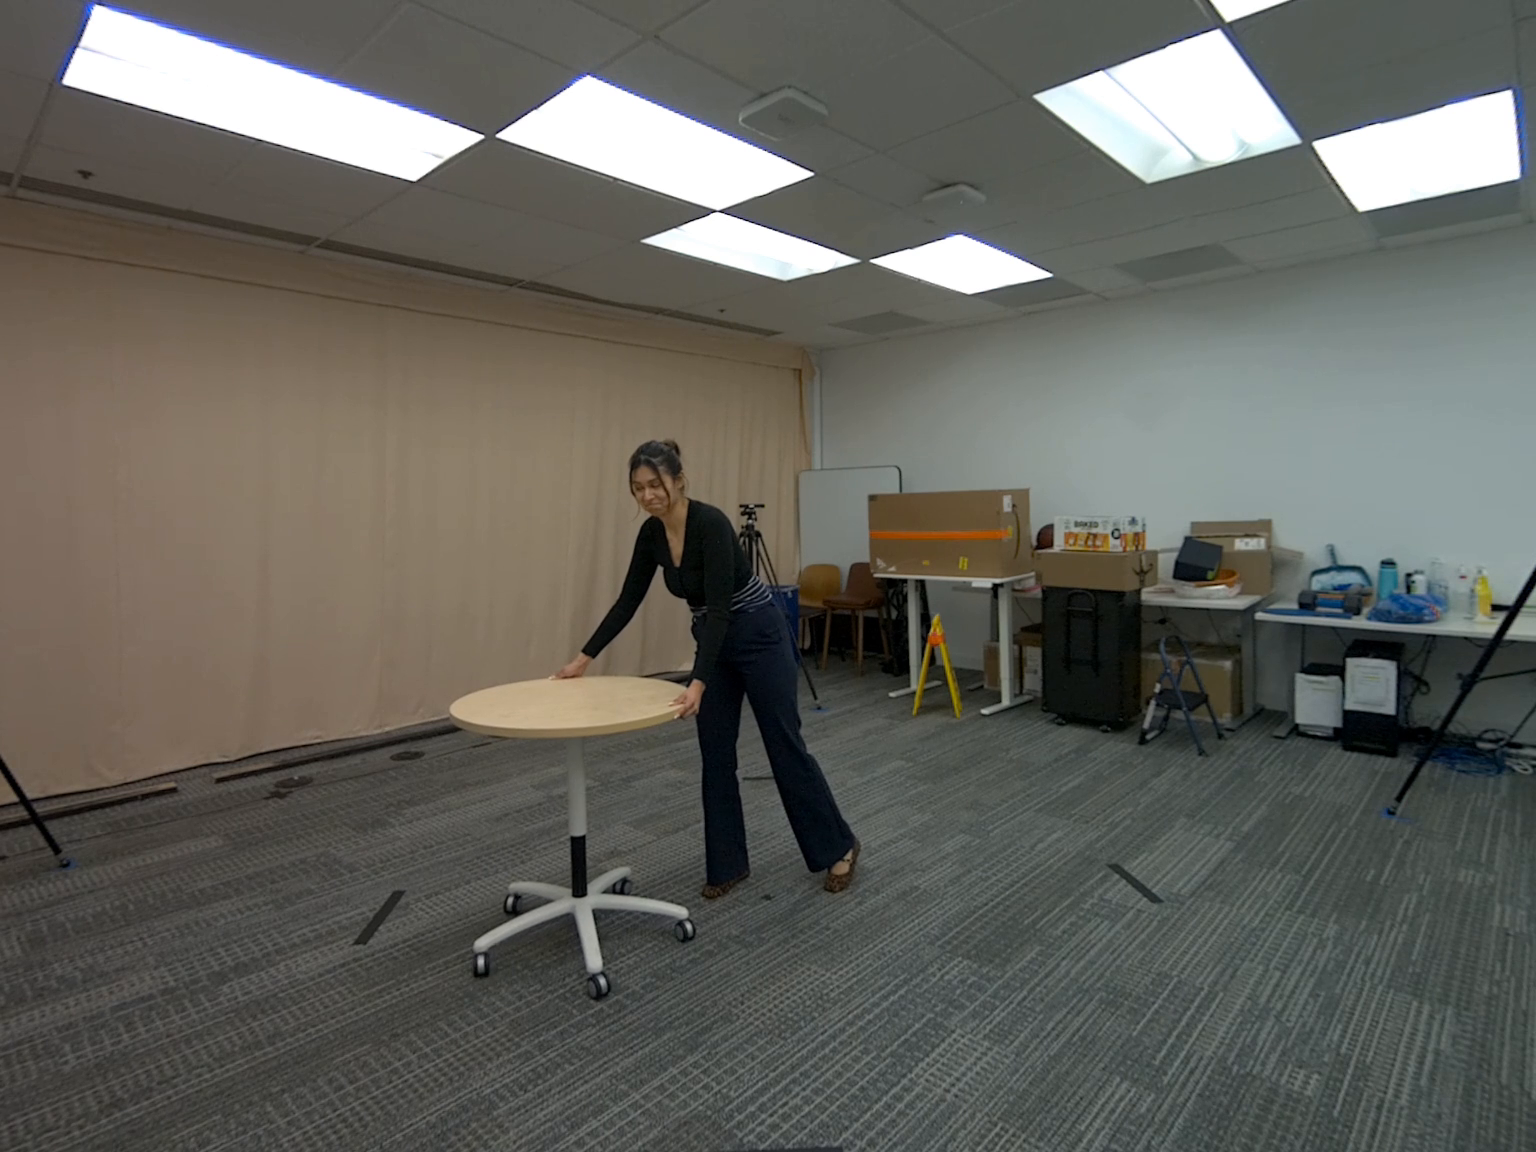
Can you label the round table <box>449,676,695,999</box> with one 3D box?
[{"bbox_3d":[-0.605,0.789,2.706,0.763,0.792,0.766,-1,3,-2],"label":"round table"}]
